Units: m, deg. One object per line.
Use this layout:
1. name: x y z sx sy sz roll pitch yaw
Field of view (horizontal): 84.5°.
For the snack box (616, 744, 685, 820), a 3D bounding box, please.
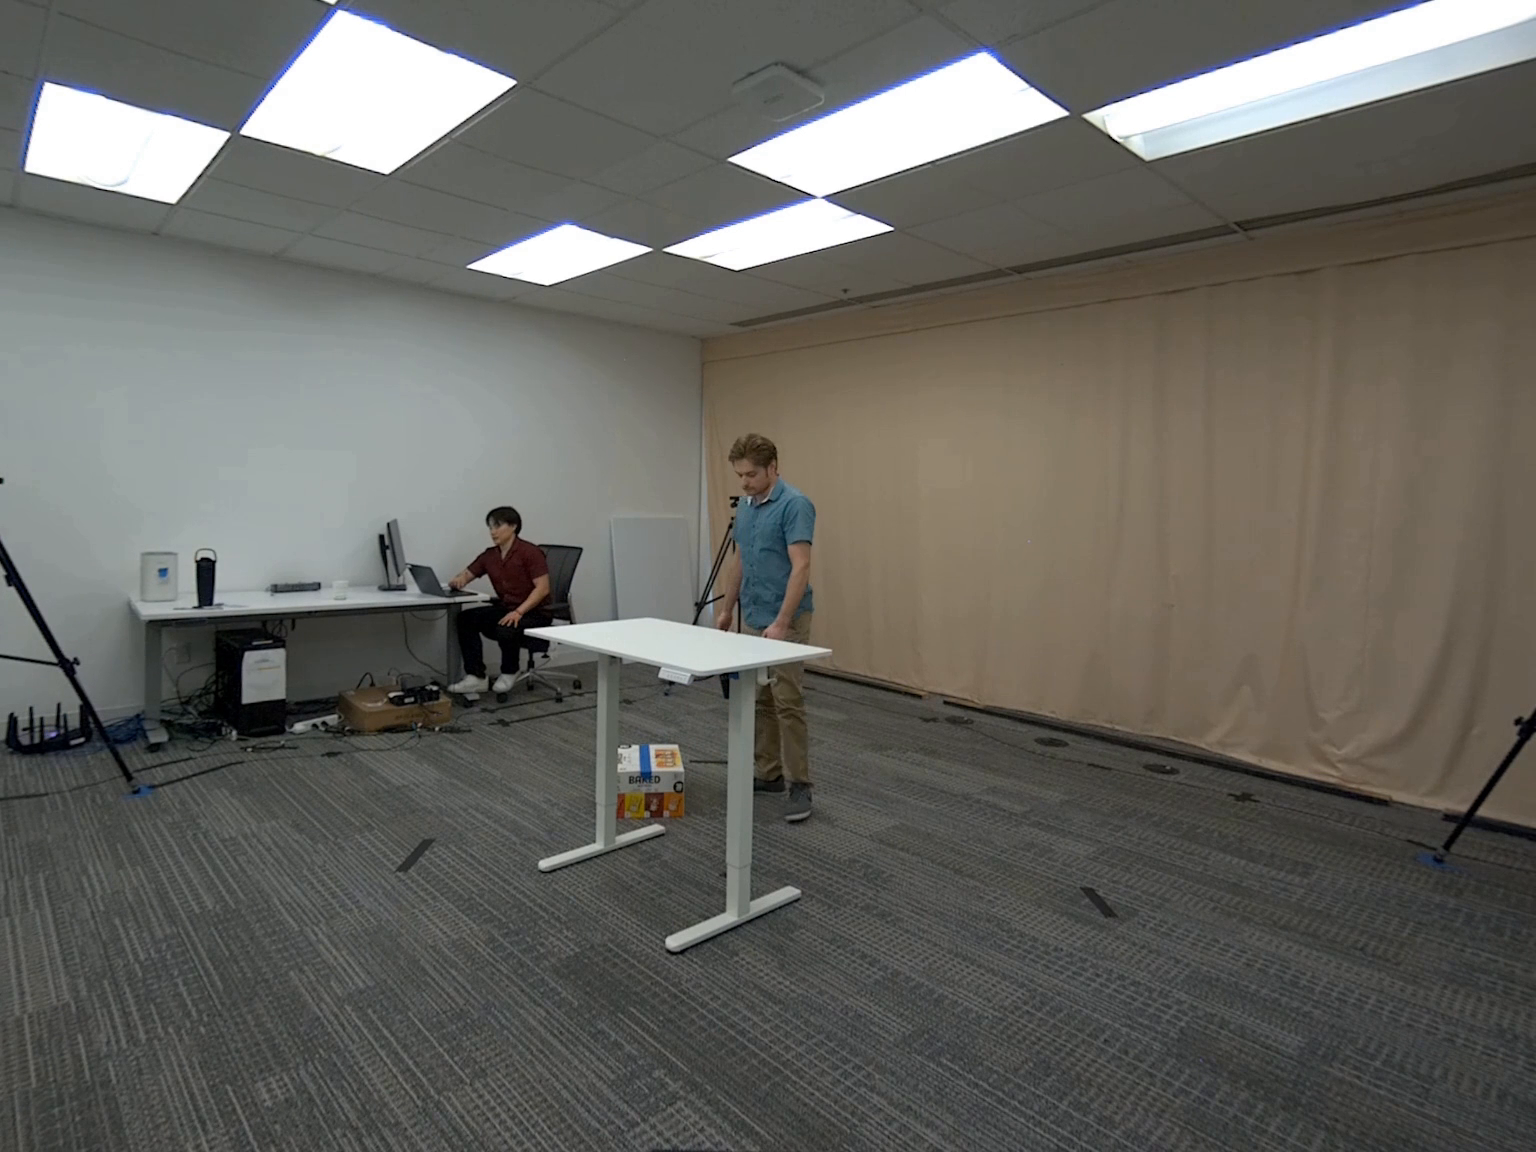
1. snack box: -0.578 0.930 3.833 0.338 0.205 0.409 1 5 -9
